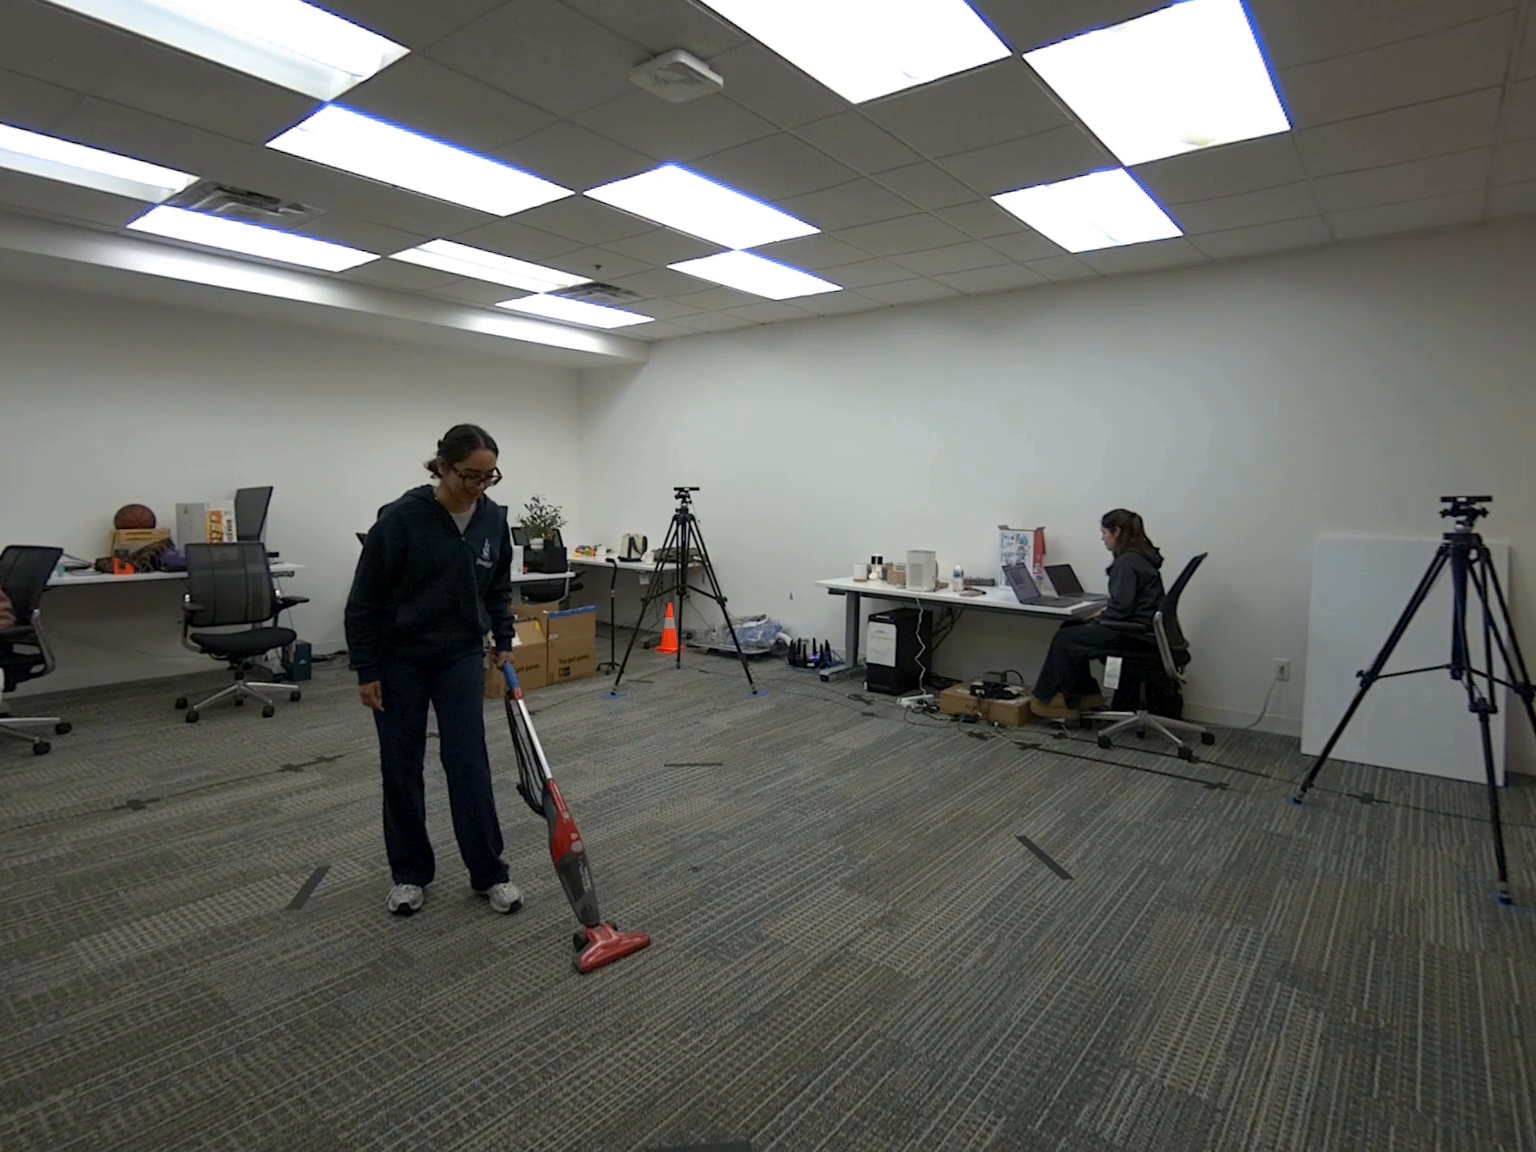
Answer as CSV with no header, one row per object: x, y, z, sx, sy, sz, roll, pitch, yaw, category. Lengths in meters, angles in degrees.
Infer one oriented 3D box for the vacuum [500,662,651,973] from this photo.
-0.713,0.697,2.753,0.244,1.083,0.144,5,-42,-50,vacuum
